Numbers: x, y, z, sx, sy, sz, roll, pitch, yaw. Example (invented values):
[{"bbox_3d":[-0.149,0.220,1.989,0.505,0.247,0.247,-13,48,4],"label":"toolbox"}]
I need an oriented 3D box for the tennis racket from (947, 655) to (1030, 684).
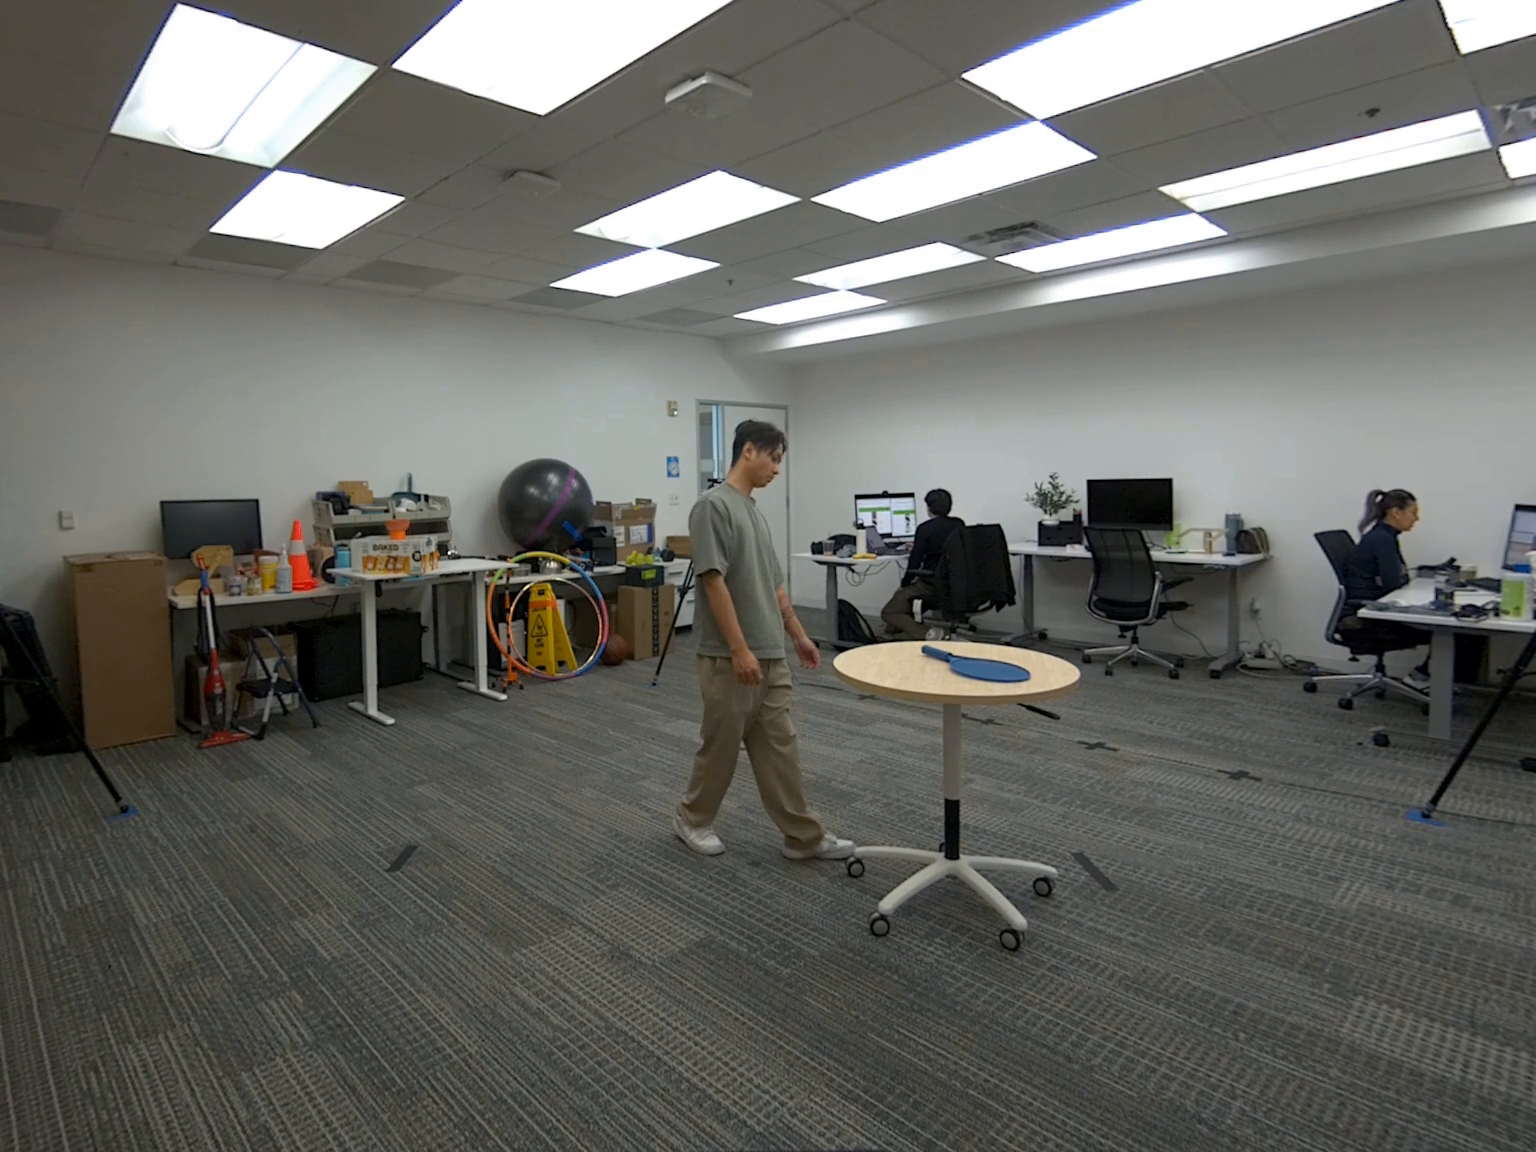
[{"bbox_3d":[0.642,0.276,2.731,0.209,0.031,0.445,-3,8,-27],"label":"tennis racket"}]
